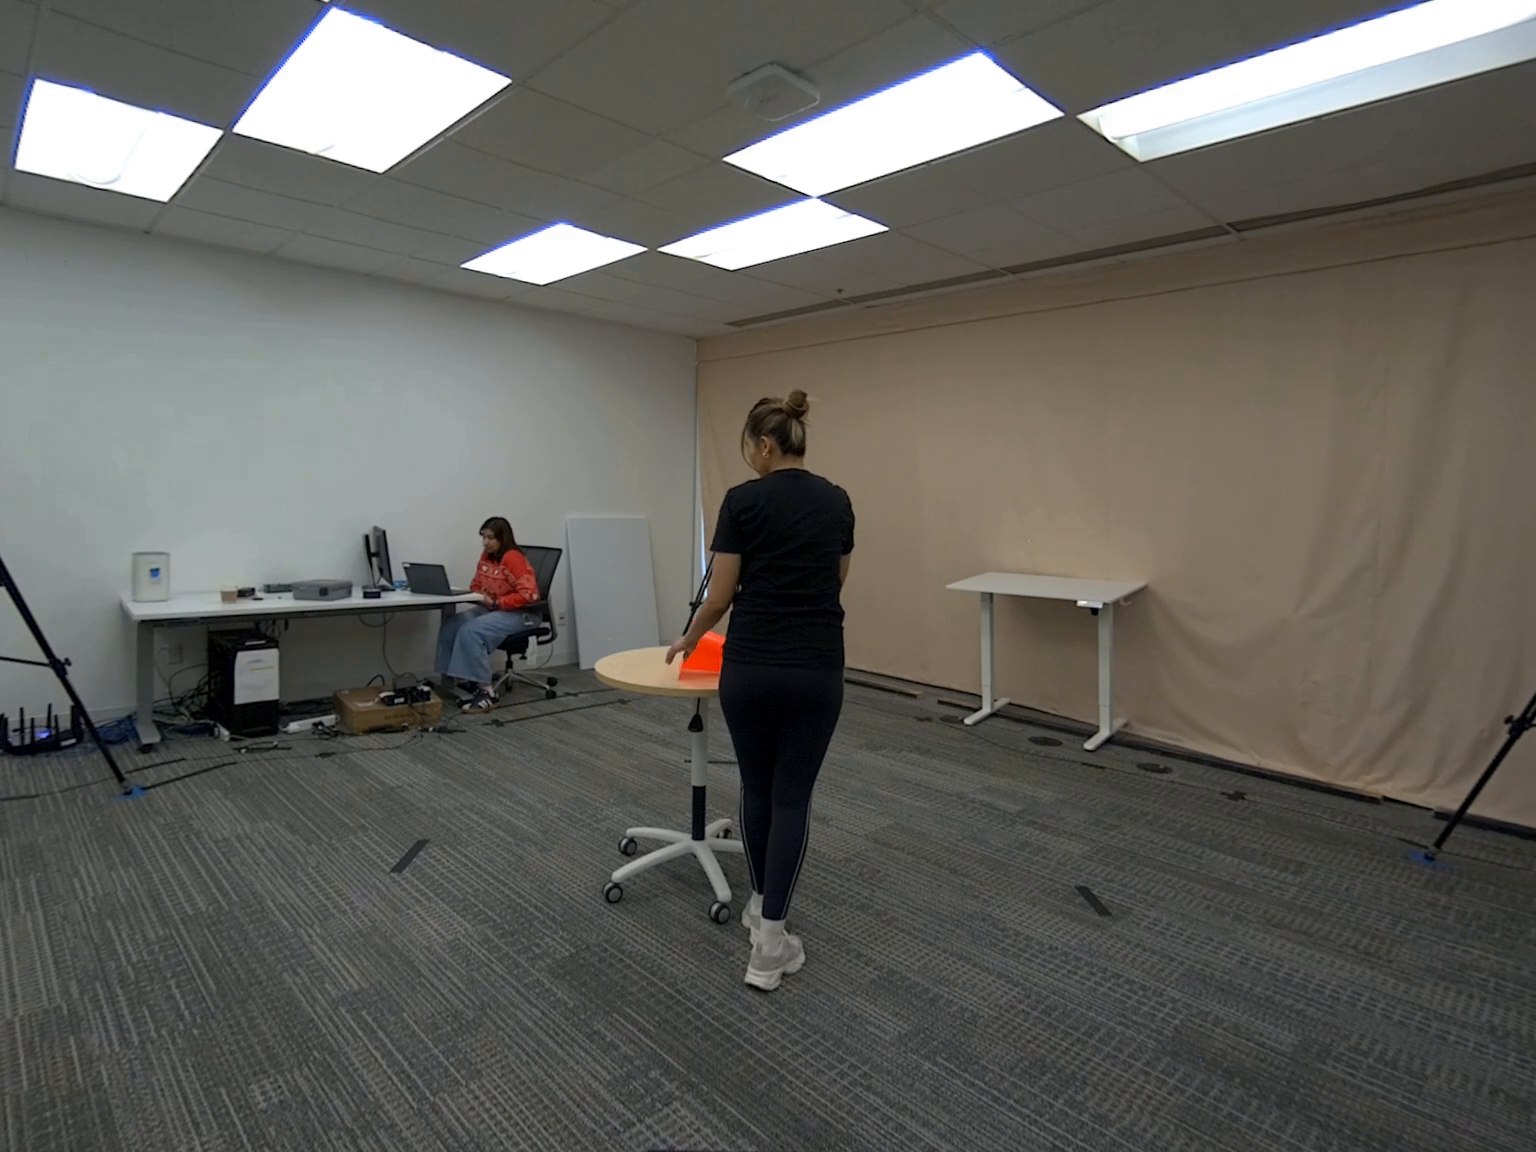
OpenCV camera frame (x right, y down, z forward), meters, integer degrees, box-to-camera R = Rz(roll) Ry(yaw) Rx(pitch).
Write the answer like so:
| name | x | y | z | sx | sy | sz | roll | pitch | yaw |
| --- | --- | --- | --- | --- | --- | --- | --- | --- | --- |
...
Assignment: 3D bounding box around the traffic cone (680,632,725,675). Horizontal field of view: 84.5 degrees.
| name | x | y | z | sx | sy | sz | roll | pitch | yaw |
| --- | --- | --- | --- | --- | --- | --- | --- | --- | --- |
| traffic cone | -0.100 | 0.287 | 2.890 | 0.383 | 0.203 | 0.205 | 13 | 0 | -2 |
